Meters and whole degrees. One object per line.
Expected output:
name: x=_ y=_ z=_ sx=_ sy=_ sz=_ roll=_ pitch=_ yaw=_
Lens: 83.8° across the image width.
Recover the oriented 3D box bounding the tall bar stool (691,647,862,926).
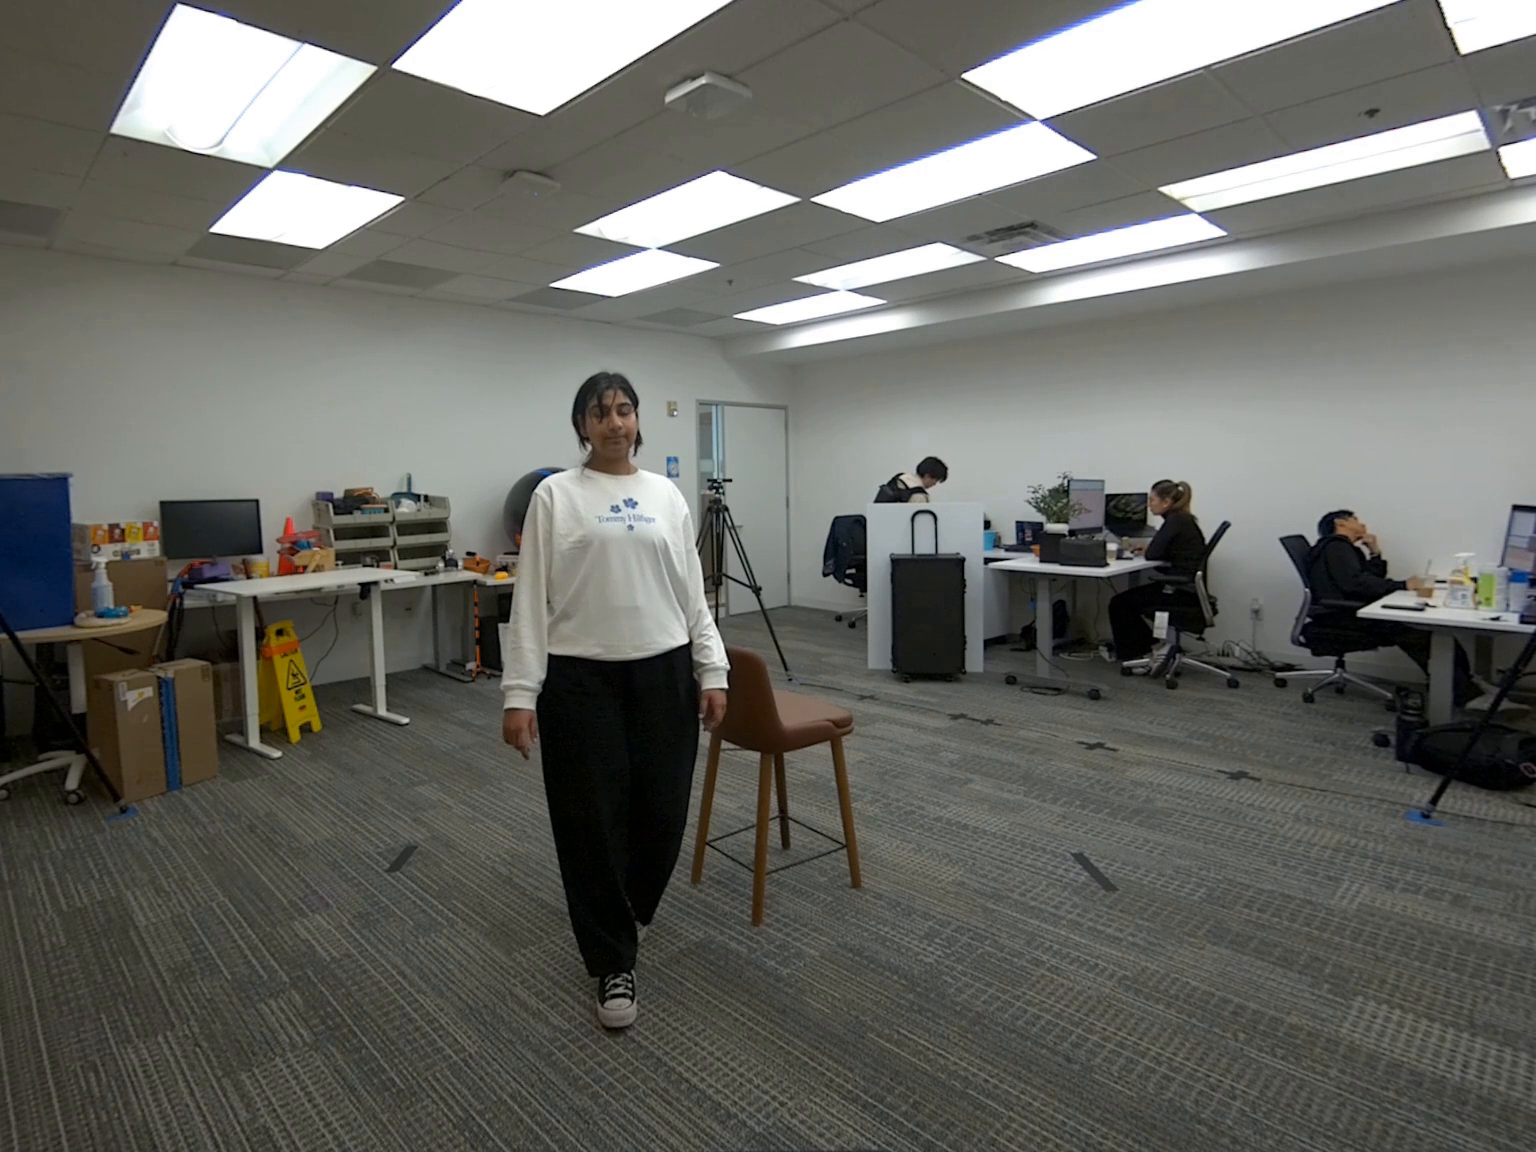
tall bar stool: x=0.014 y=0.626 z=2.921 sx=0.456 sy=0.885 sz=0.470 roll=-6 pitch=7 yaw=-37
